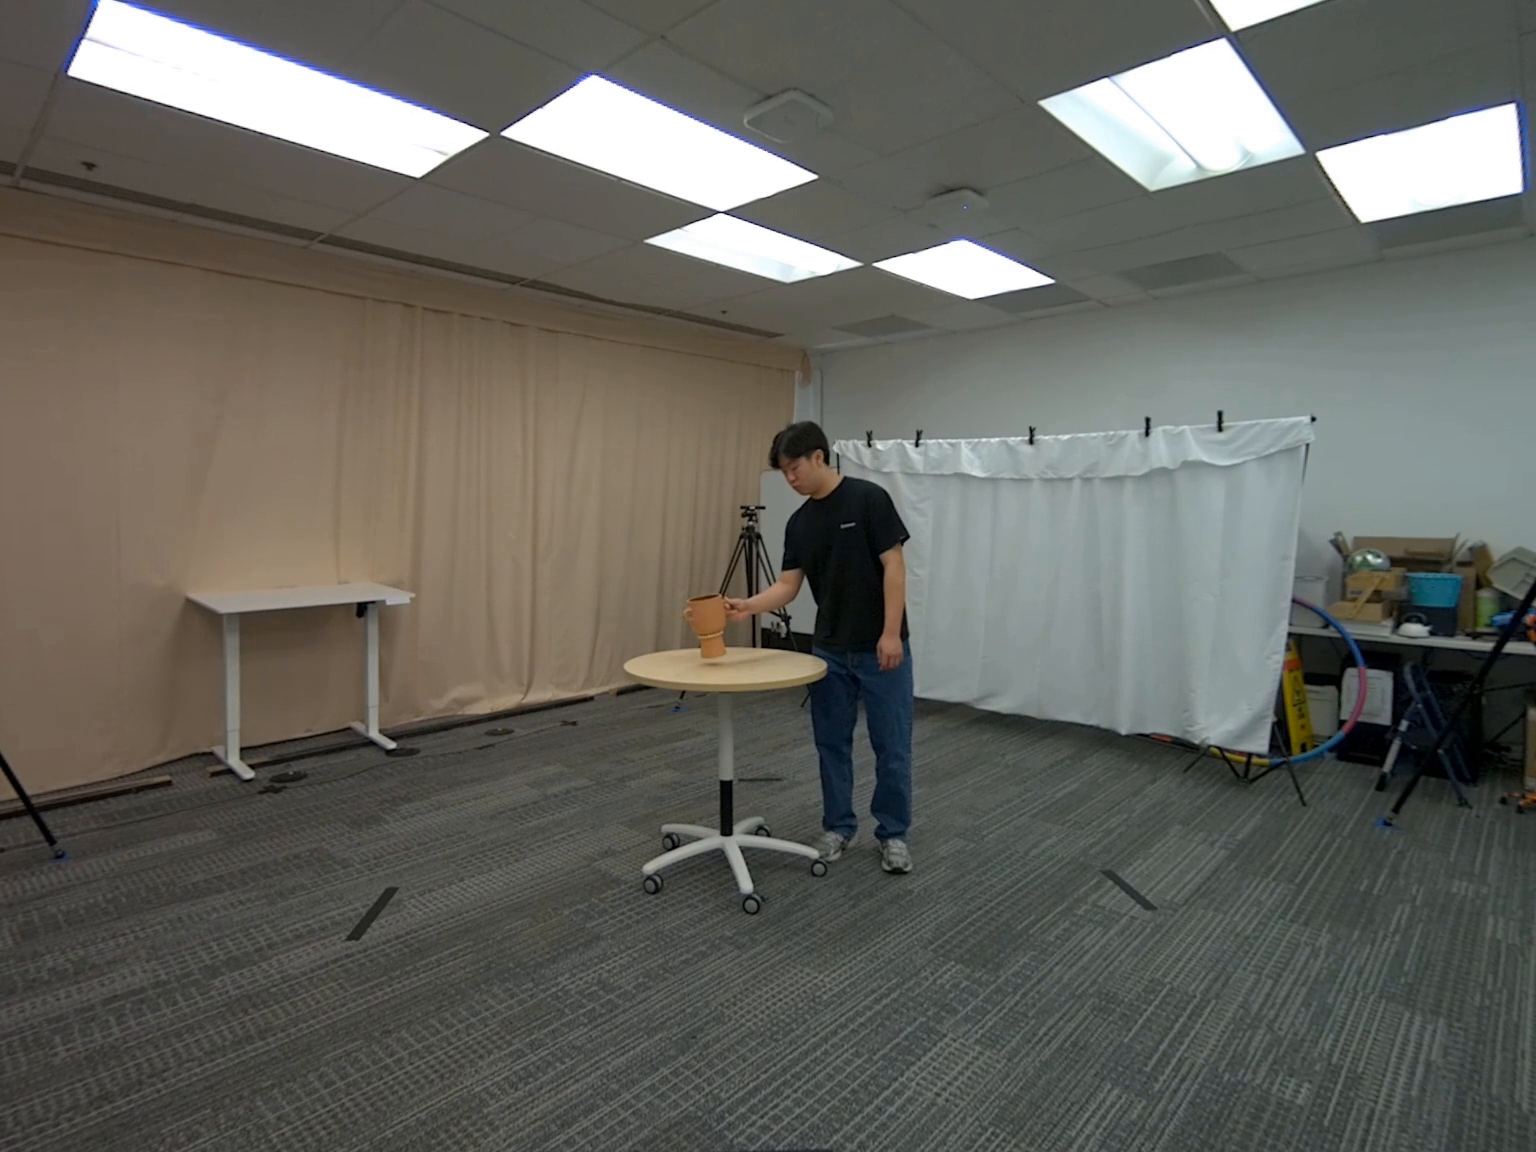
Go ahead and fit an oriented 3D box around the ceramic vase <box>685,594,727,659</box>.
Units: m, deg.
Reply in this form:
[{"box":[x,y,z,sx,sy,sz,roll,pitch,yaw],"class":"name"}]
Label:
[{"box":[-0.214,0.191,3.149,0.160,0.219,0.134,-8,6,10],"class":"ceramic vase"}]
